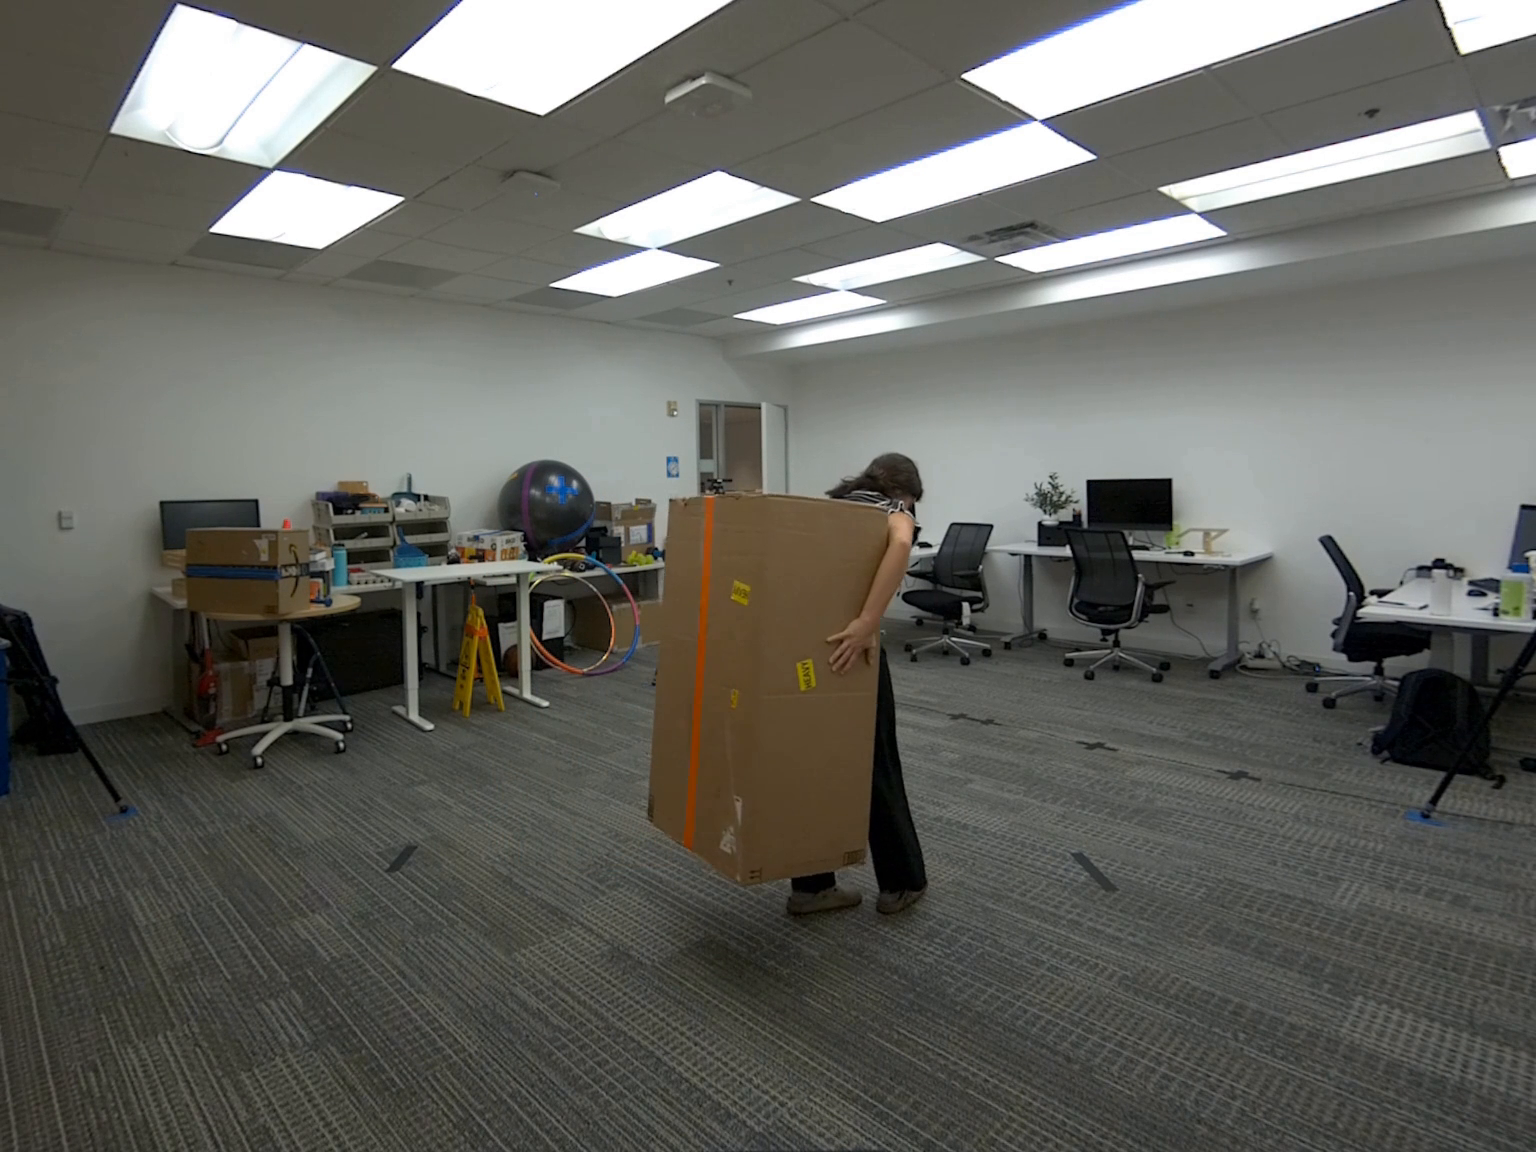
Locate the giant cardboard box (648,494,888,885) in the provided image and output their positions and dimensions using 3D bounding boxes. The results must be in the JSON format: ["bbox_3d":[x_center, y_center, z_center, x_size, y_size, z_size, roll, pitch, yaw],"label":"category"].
[{"bbox_3d":[-0.020,0.290,2.558,0.414,1.027,0.593,4,-1,-33],"label":"giant cardboard box"}]
